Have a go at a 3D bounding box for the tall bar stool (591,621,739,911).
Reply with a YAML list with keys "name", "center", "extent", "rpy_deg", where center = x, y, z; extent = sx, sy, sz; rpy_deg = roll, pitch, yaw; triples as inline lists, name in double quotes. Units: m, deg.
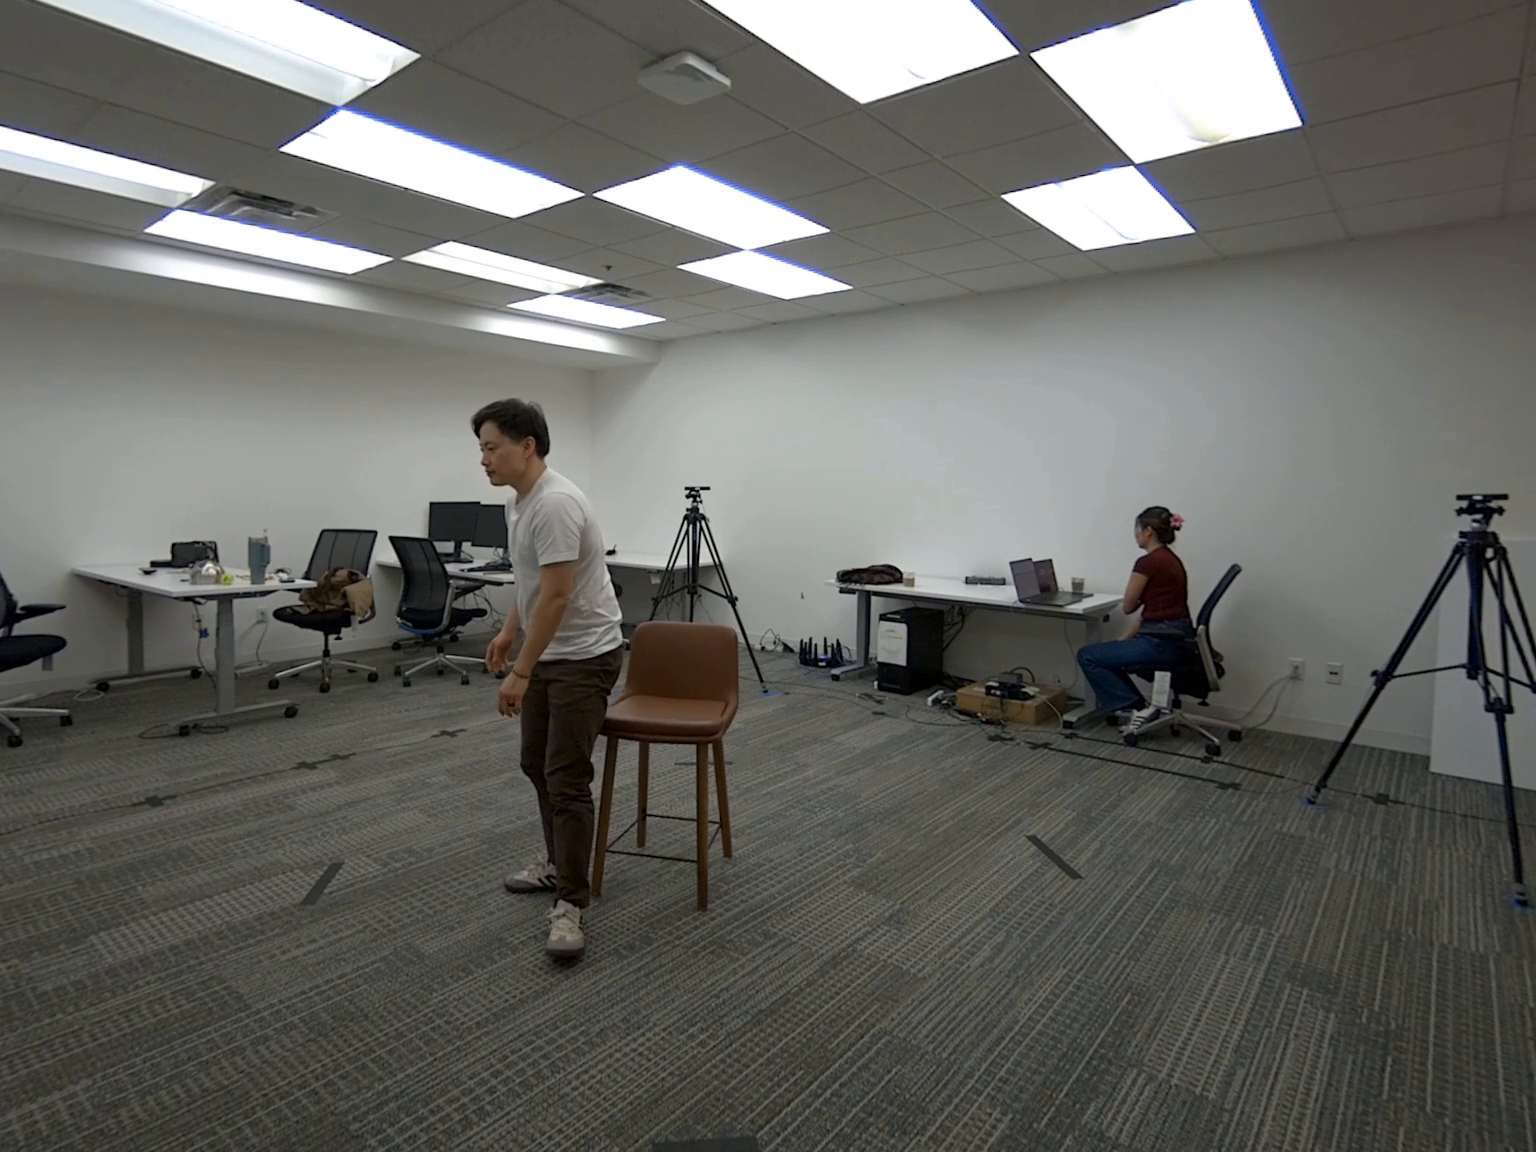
- name: "tall bar stool"
  center: [-0.362, 0.637, 3.038]
  extent: [0.464, 0.888, 0.461]
  rpy_deg: [1, 2, 14]
